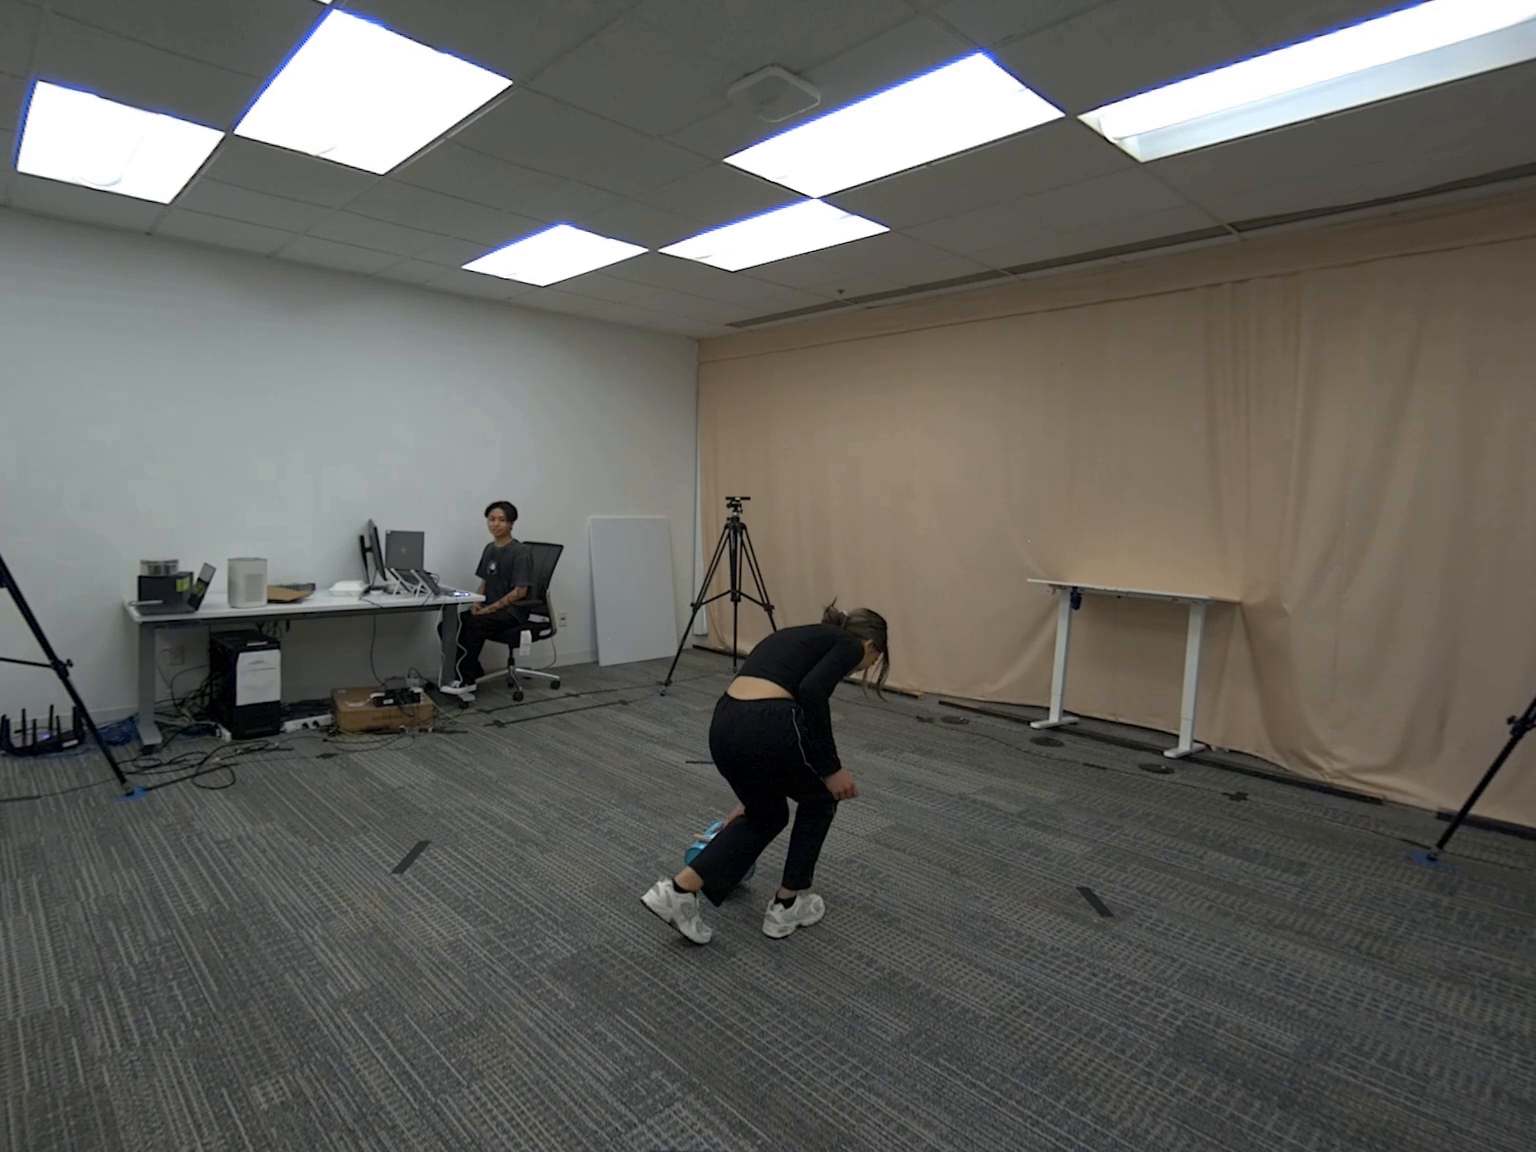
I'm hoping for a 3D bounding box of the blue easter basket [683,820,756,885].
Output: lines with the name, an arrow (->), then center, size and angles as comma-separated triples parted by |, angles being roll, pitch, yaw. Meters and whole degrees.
blue easter basket -> -0.192, 1.005, 2.989 | 0.250, 0.241, 0.153 | 5, 15, 41
